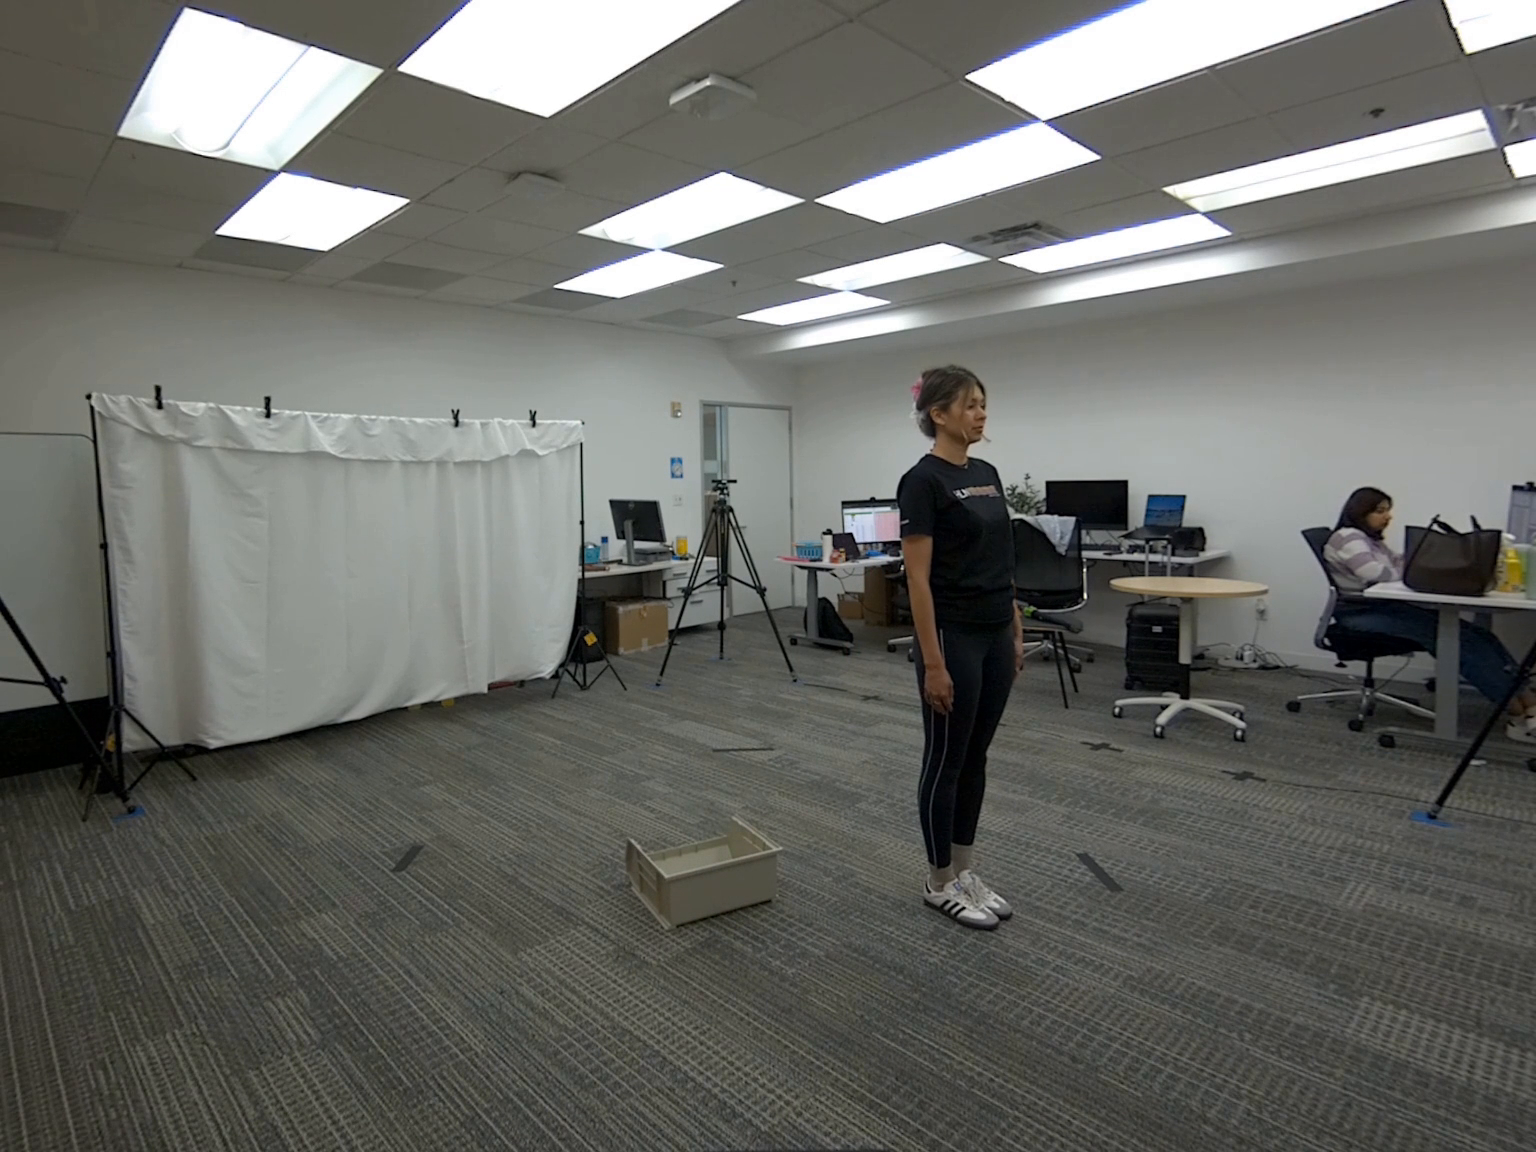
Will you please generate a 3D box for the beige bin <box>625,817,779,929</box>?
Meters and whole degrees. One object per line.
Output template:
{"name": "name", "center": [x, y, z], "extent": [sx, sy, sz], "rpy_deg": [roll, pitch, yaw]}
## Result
{"name": "beige bin", "center": [-0.220, 0.986, 2.892], "extent": [0.413, 0.188, 0.388], "rpy_deg": [-3, 7, -29]}
